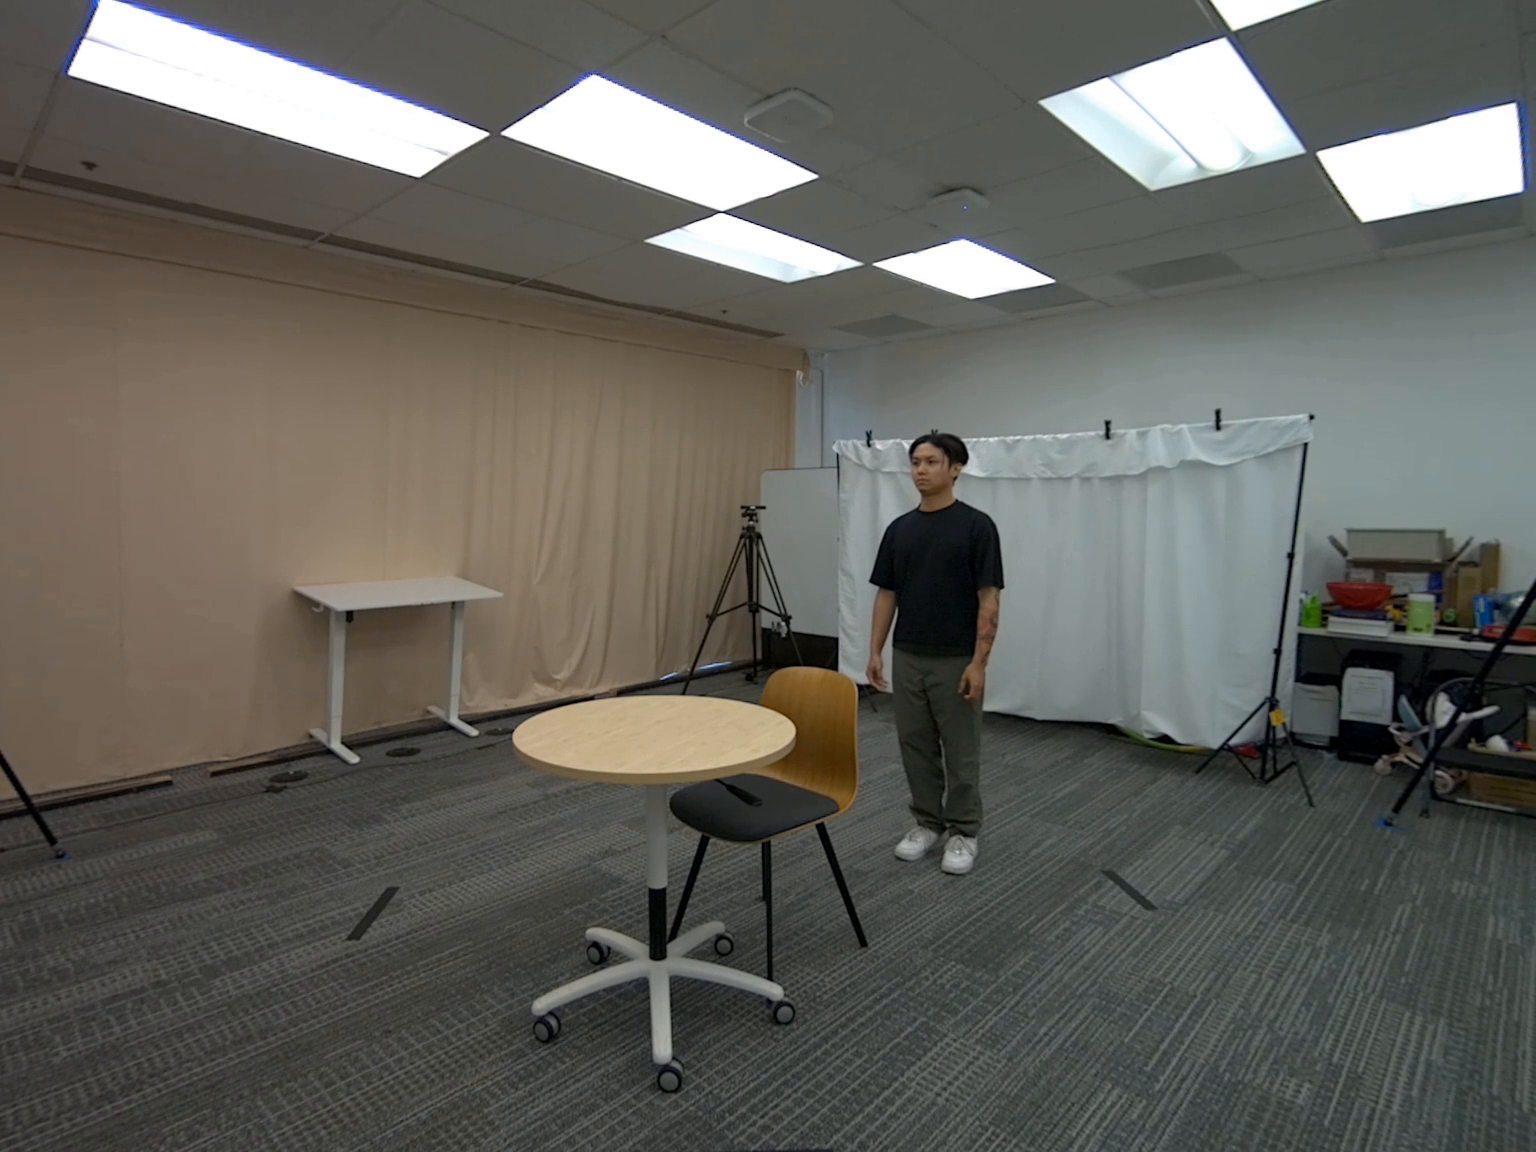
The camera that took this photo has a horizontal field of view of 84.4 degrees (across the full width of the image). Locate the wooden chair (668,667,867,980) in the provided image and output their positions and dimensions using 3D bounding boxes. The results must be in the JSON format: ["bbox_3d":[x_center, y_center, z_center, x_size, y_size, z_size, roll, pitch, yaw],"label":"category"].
[{"bbox_3d":[-0.003,0.749,2.632,0.506,0.877,0.494,2,1,-45],"label":"wooden chair"}]
